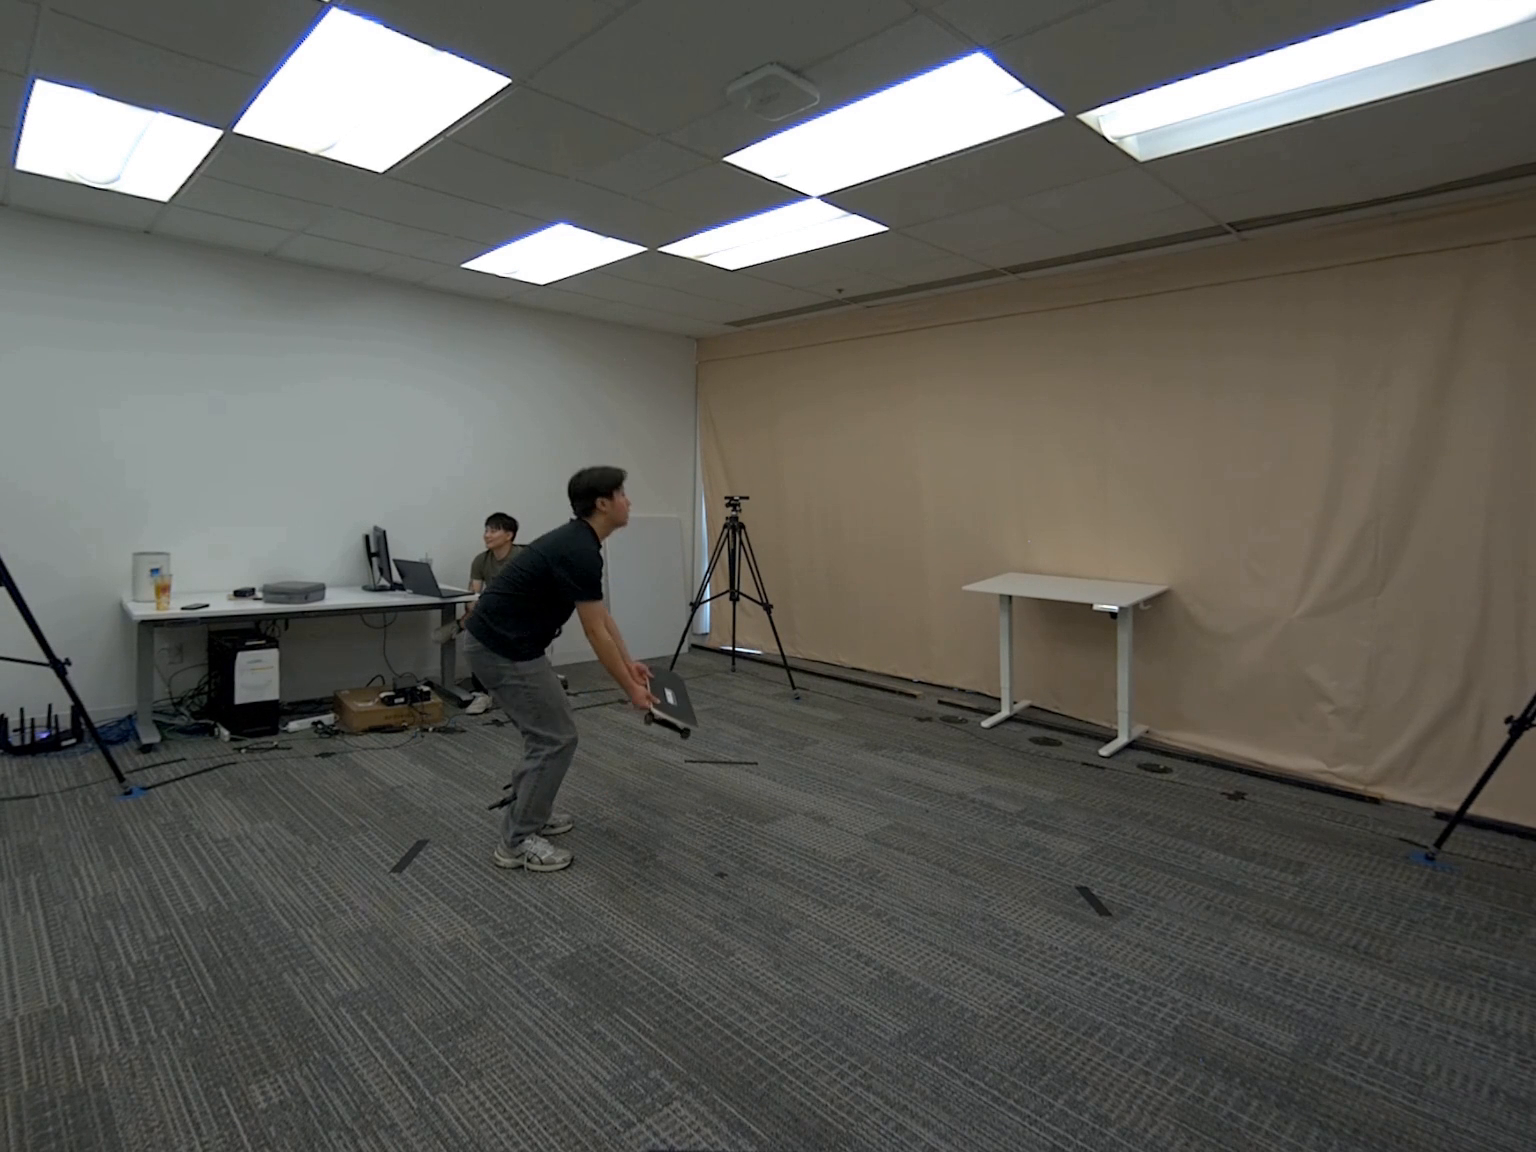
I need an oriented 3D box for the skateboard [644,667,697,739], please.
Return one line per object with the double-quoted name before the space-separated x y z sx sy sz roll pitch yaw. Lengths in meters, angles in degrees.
"skateboard" -0.411 0.527 3.427 0.191 0.110 0.795 21 4 -12
